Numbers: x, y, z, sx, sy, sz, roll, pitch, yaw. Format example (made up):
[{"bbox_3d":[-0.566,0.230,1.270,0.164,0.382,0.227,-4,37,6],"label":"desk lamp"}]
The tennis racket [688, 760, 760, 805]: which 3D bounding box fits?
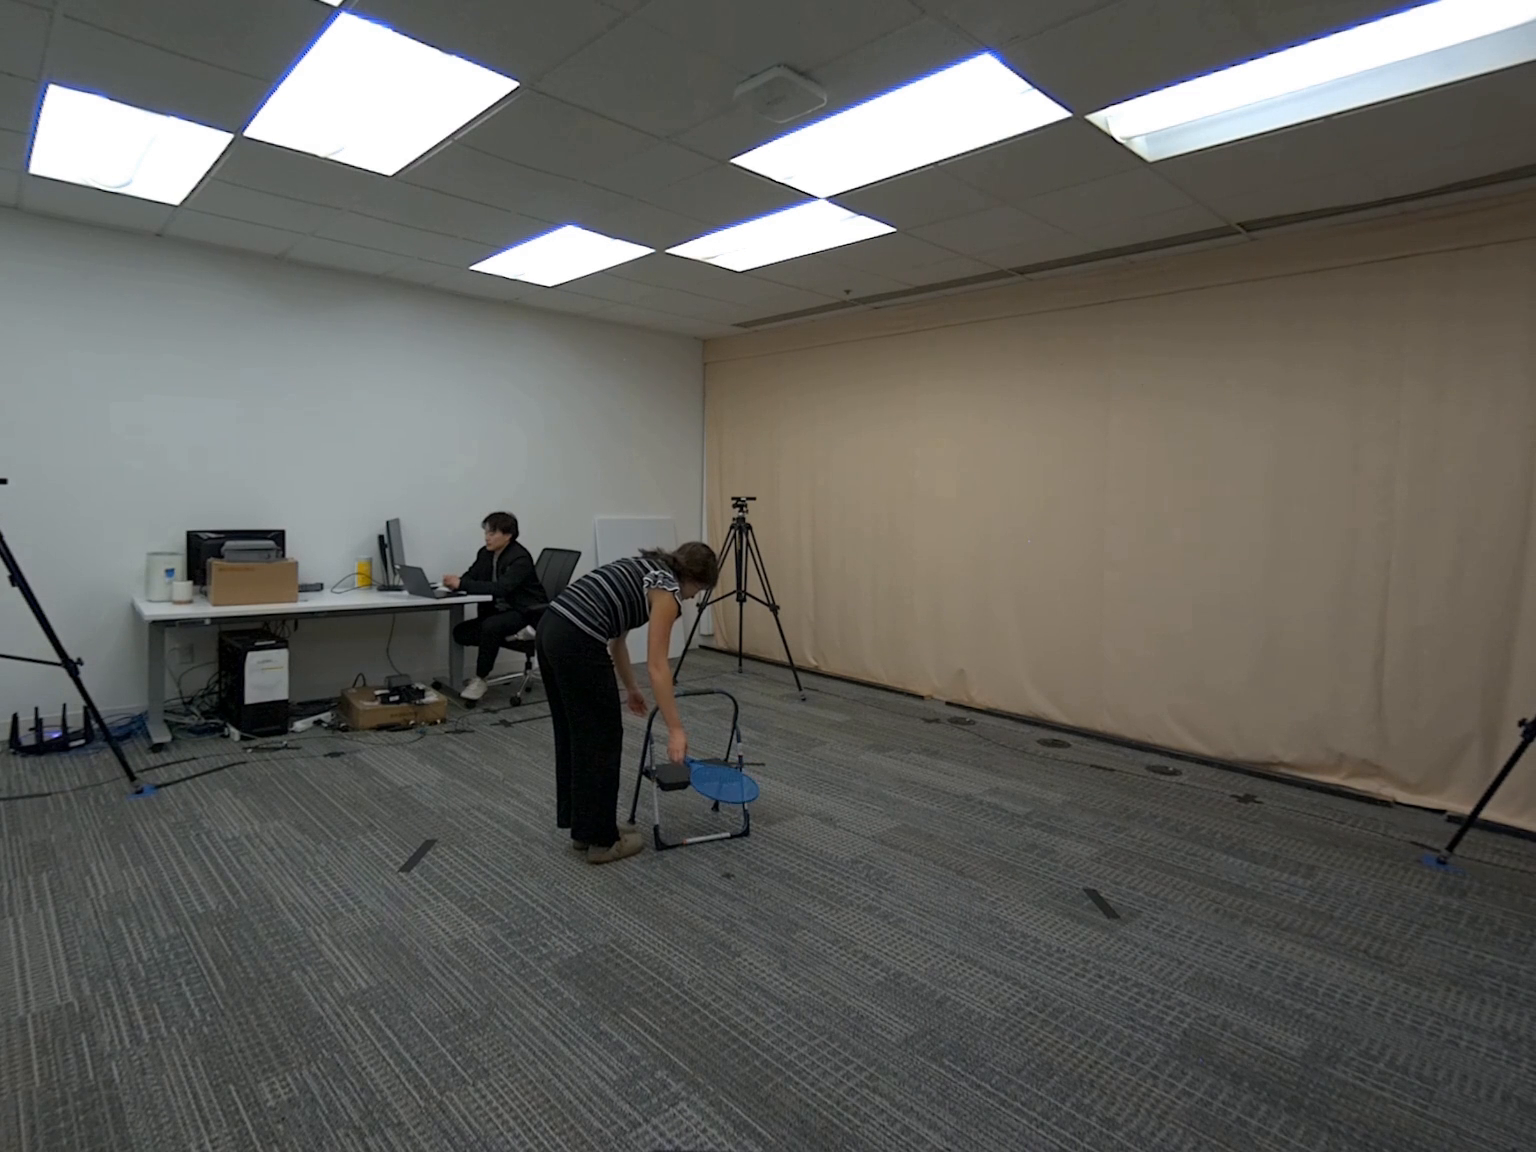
[{"bbox_3d":[-0.209,0.706,2.973,0.209,0.031,0.446,-9,19,-41],"label":"tennis racket"}]
